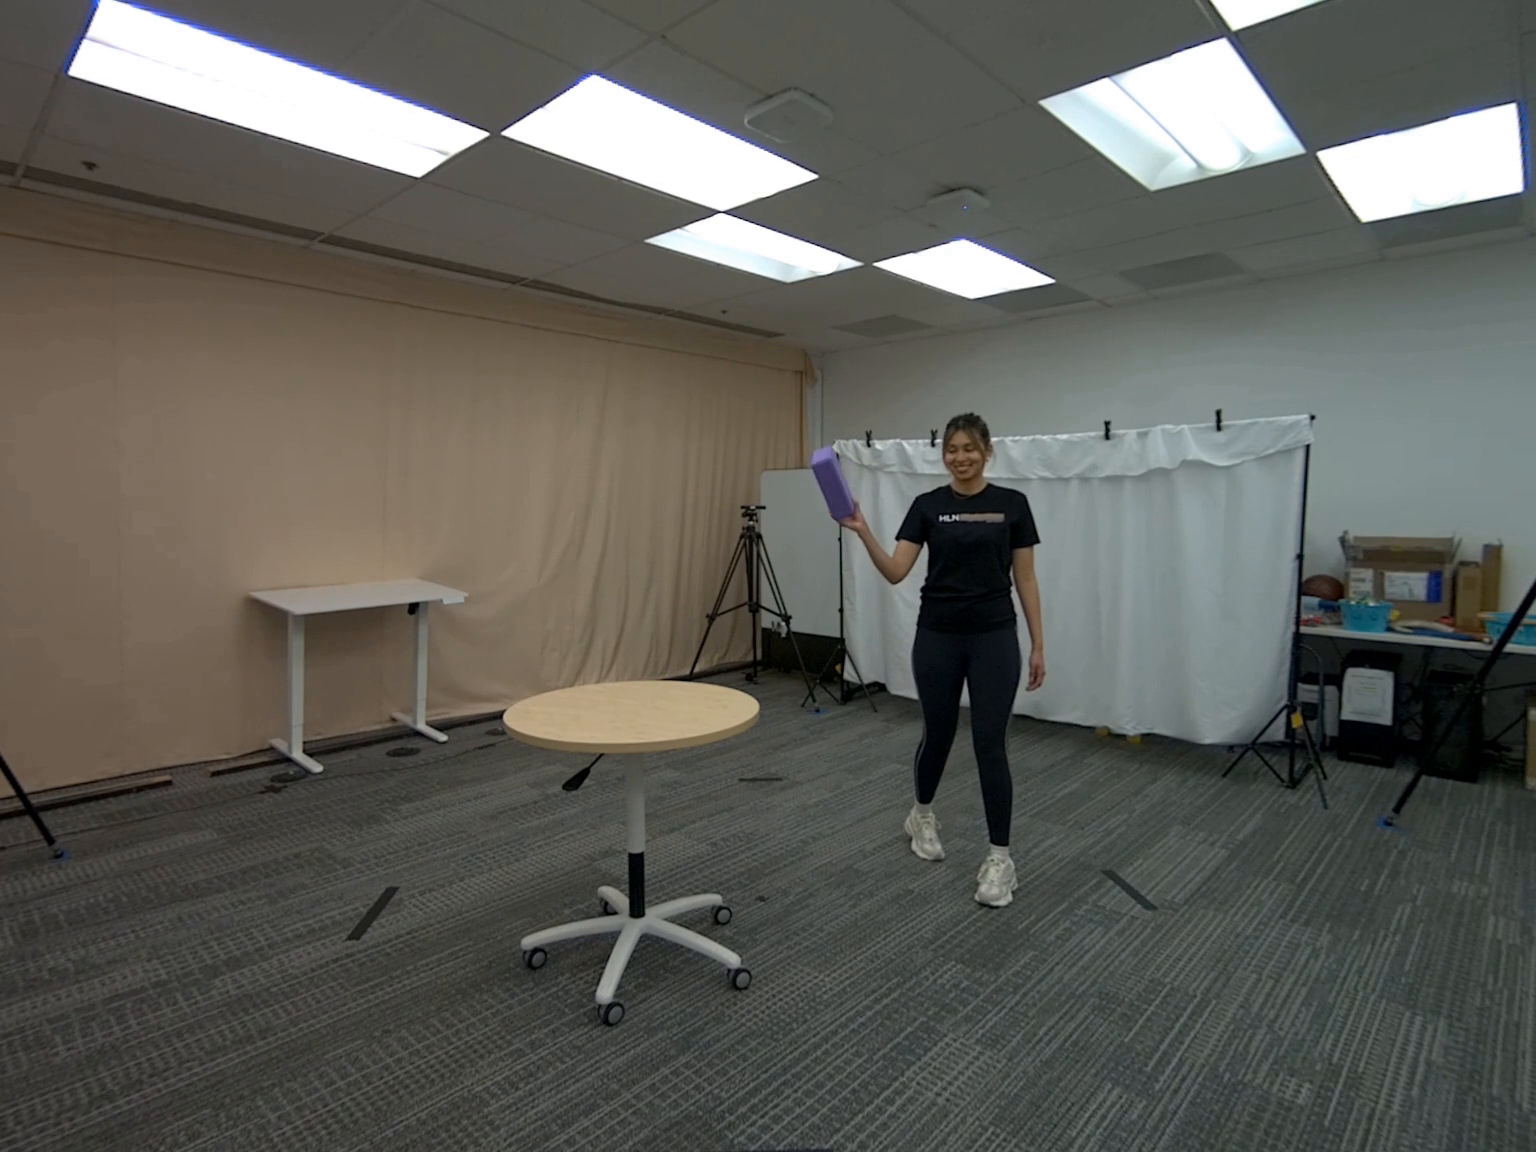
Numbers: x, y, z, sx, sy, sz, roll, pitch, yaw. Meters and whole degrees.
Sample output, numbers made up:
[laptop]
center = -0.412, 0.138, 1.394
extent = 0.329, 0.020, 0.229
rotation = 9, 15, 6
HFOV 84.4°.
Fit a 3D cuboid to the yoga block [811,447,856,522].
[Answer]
[yoga block]
center = 0.236, -0.336, 3.008
extent = 0.077, 0.225, 0.149
rotation = -14, 21, 16
